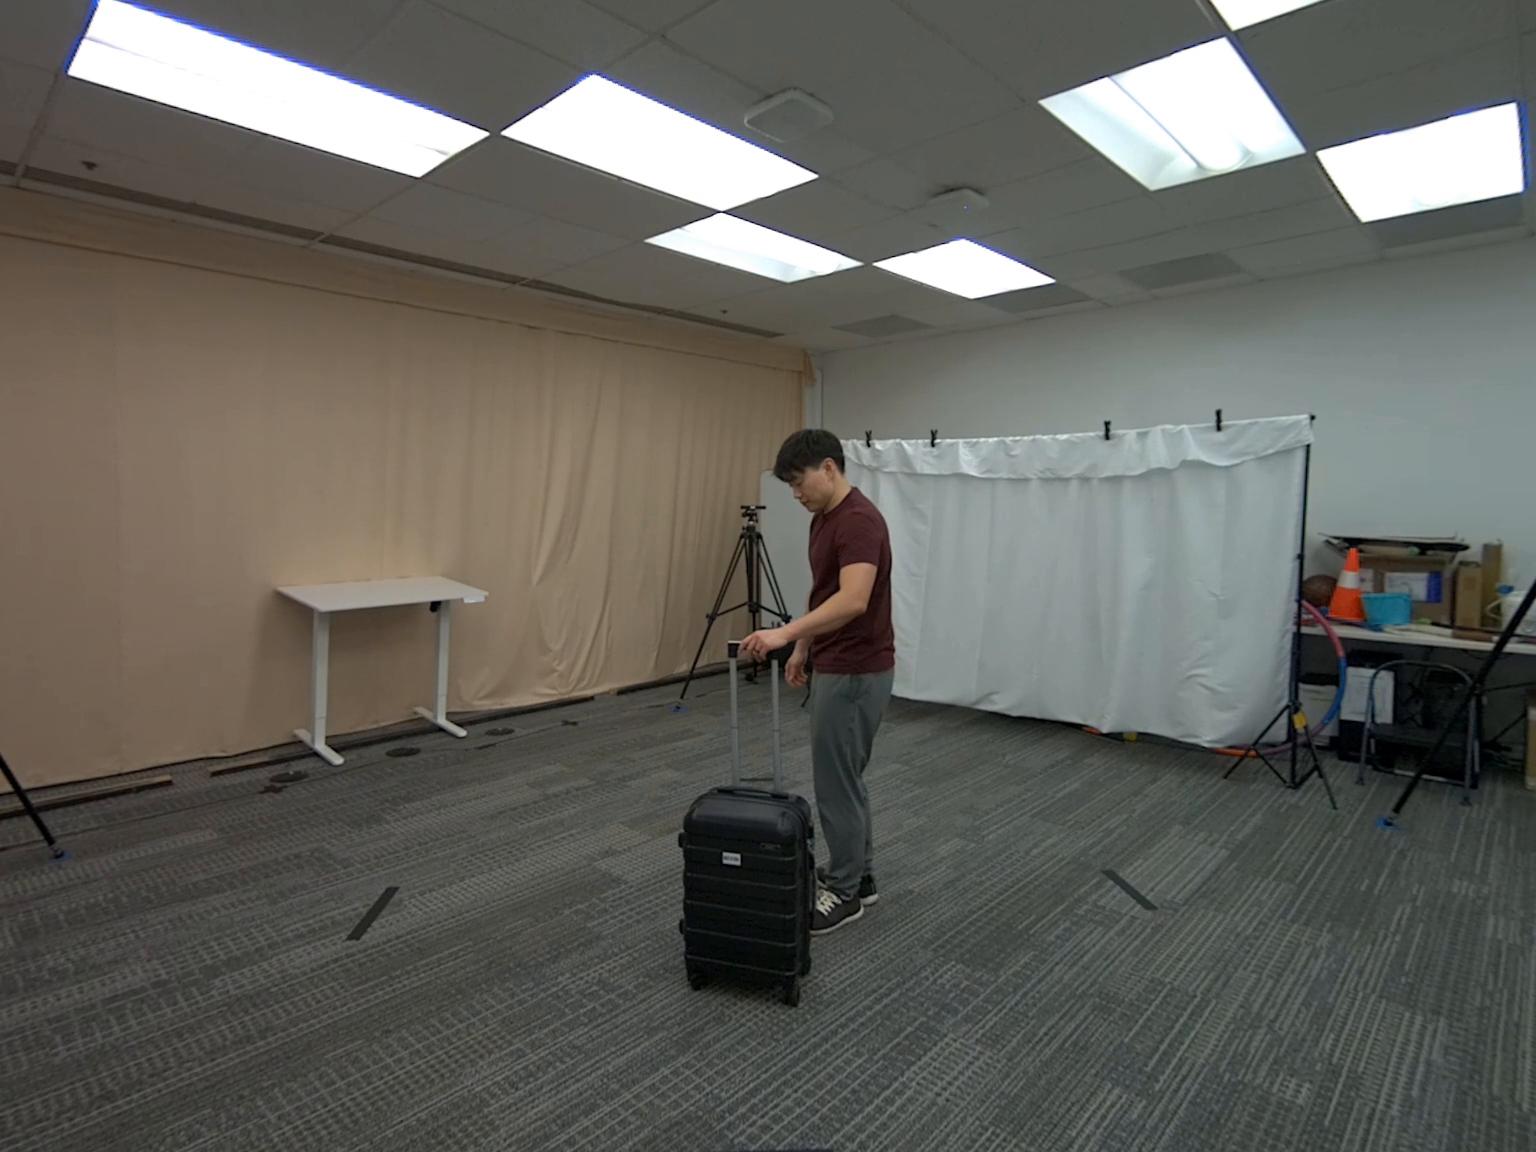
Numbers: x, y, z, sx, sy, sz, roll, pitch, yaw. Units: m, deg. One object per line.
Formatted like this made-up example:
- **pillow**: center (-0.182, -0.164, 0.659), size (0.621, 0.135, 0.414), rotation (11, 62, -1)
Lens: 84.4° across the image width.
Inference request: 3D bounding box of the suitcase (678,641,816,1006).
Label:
- **suitcase**: center (-0.057, 0.713, 2.447), size (0.391, 0.975, 0.253), rotation (0, 5, 16)
